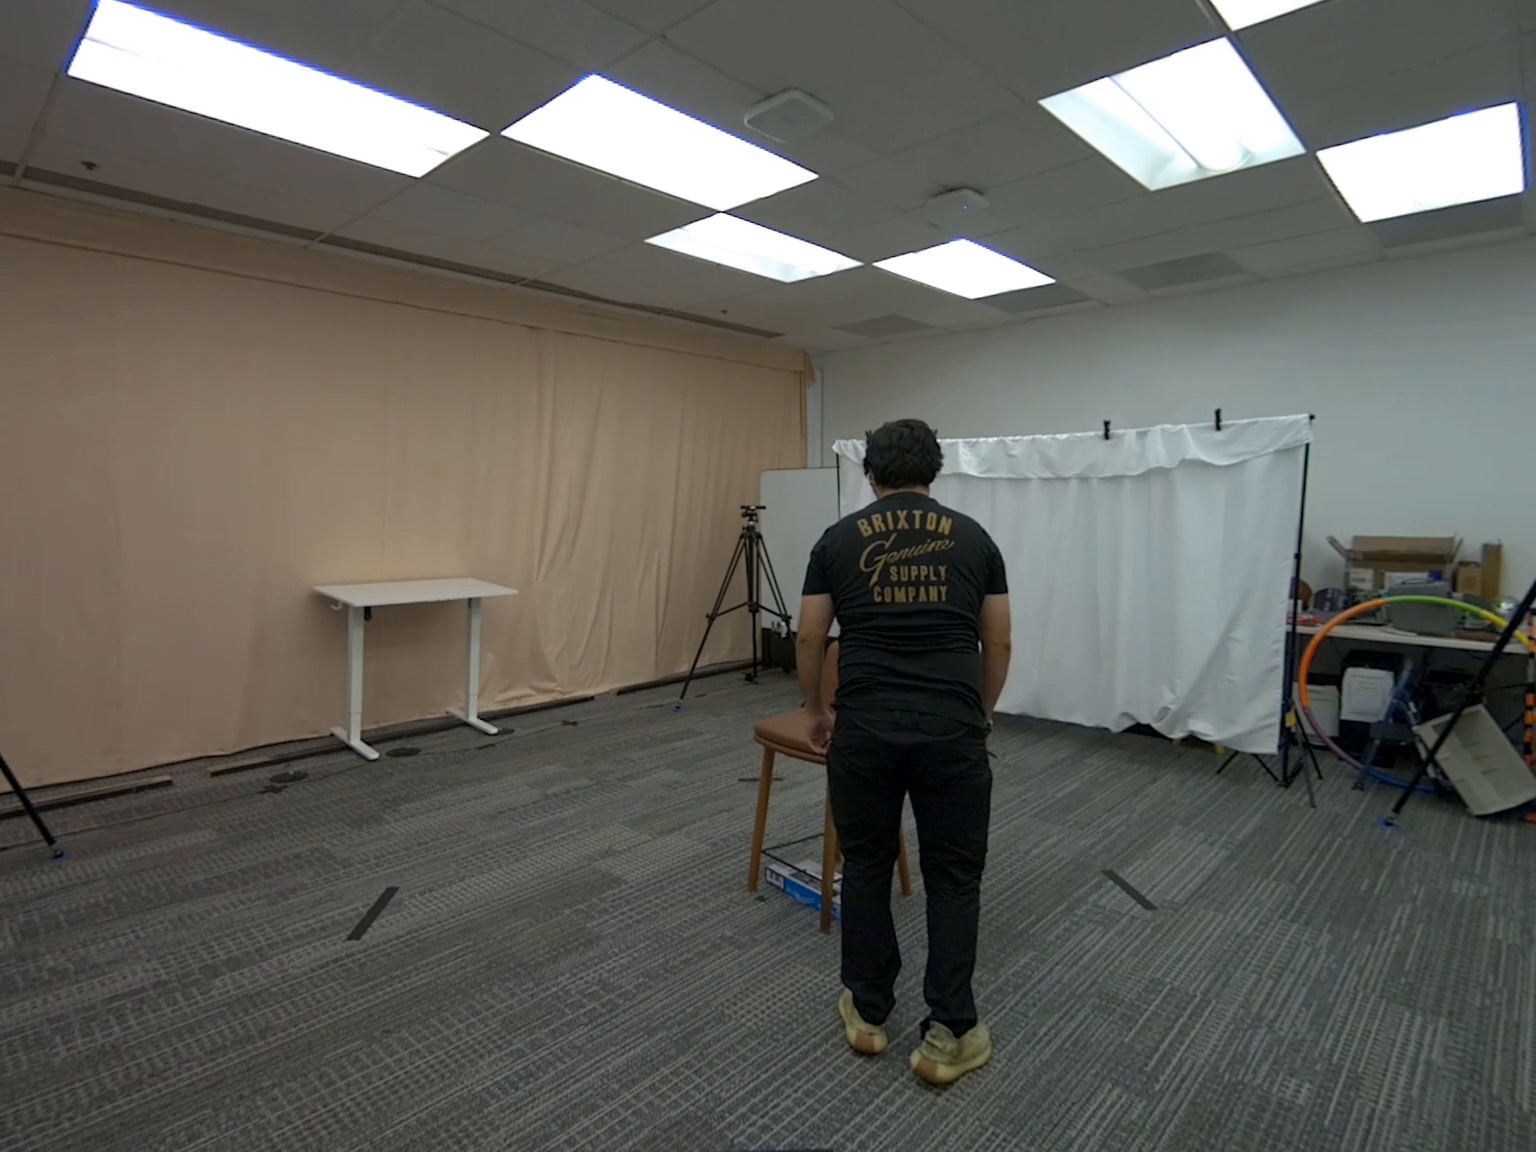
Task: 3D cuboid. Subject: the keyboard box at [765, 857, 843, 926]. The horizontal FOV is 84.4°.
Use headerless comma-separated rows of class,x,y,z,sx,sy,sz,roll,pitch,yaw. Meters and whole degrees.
keyboard box,0.202,1.114,2.989,0.170,0.059,0.451,-3,5,-40
